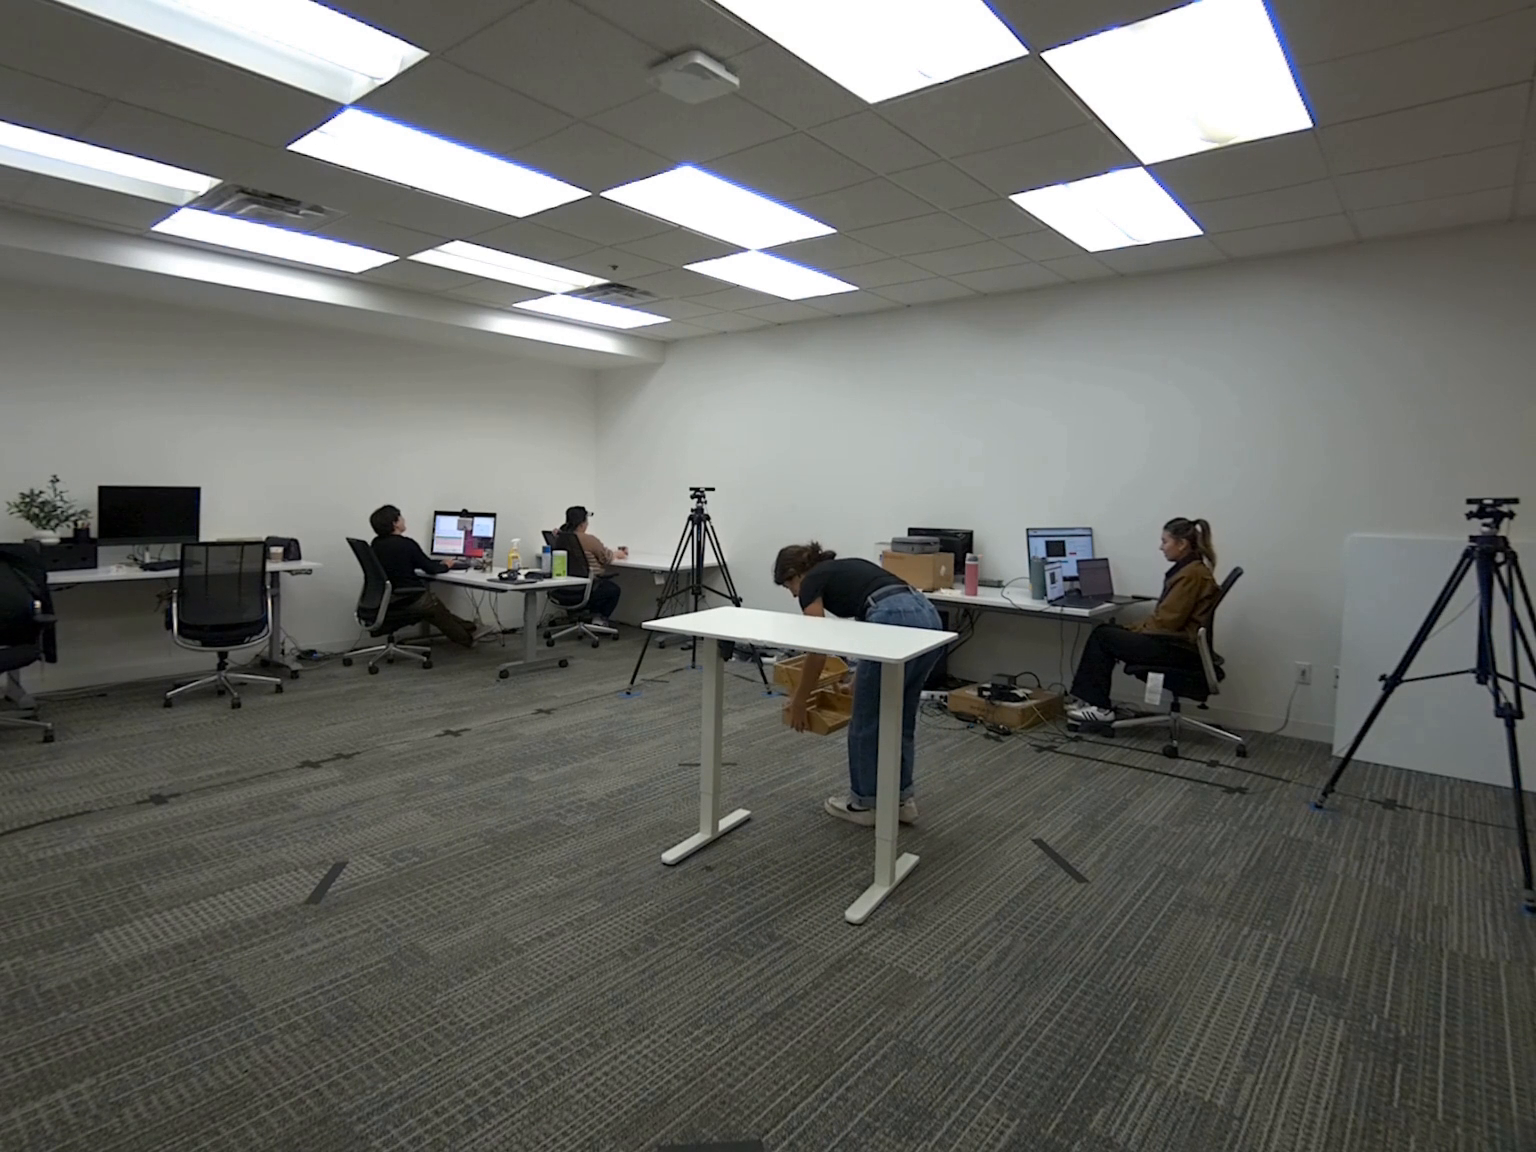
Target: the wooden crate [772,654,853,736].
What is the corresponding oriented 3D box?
[{"bbox_3d":[0.230,0.514,3.773,0.312,0.271,0.315,7,10,39],"label":"wooden crate"}]
